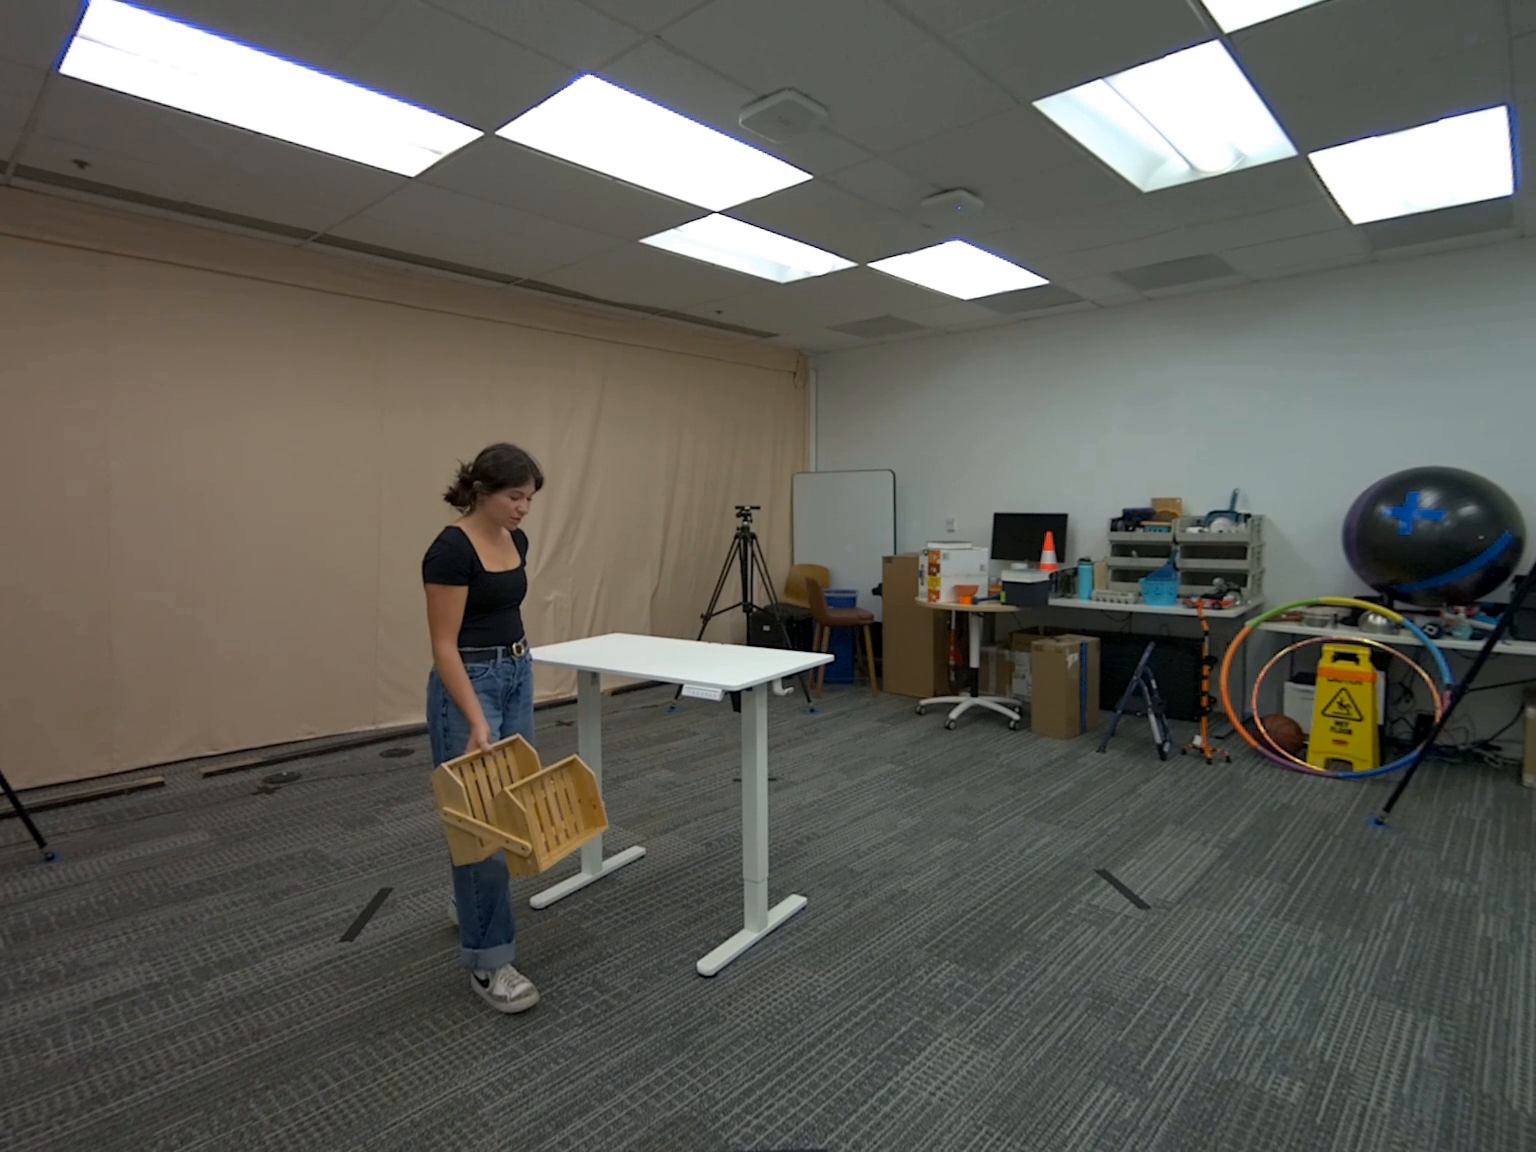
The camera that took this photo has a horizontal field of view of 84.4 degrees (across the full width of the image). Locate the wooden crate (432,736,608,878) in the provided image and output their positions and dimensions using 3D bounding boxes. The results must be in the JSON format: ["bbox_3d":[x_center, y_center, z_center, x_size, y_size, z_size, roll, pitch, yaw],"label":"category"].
[{"bbox_3d":[-0.613,0.581,2.154,0.278,0.302,0.318,-19,-1,22],"label":"wooden crate"}]
